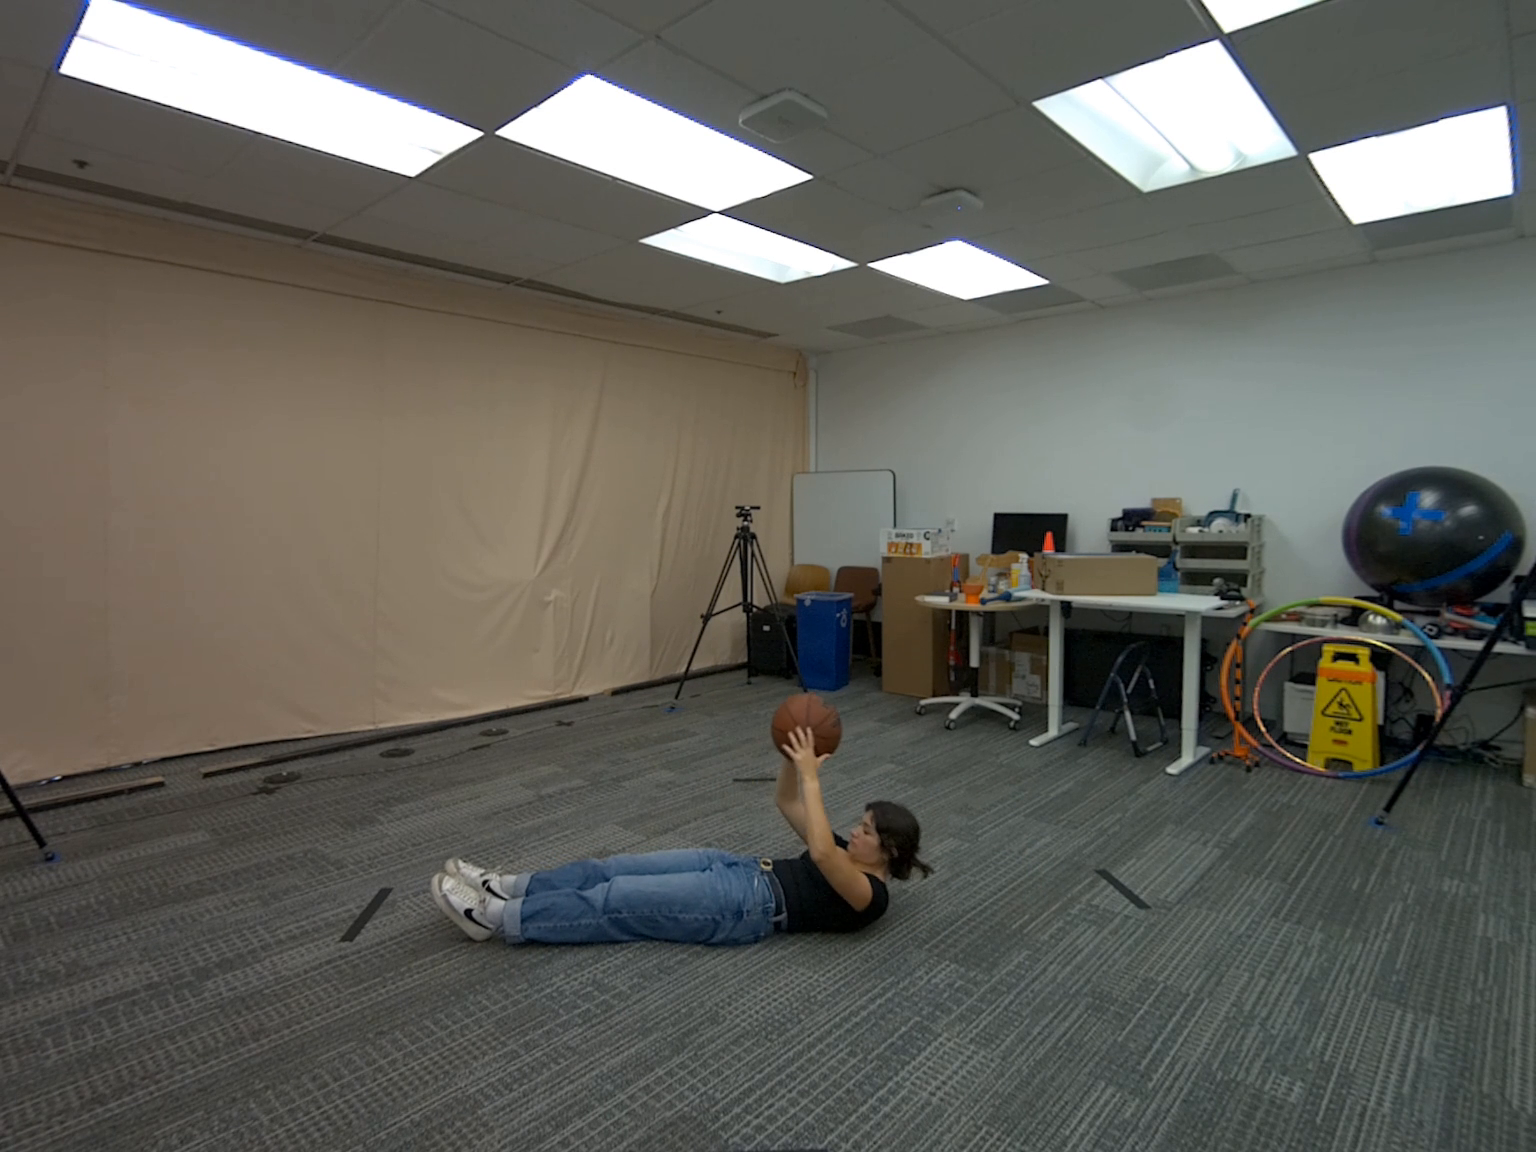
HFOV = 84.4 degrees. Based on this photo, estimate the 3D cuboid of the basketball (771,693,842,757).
[{"bbox_3d":[0.137,0.524,2.840,0.236,0.235,0.237,0,4,-2],"label":"basketball"}]
